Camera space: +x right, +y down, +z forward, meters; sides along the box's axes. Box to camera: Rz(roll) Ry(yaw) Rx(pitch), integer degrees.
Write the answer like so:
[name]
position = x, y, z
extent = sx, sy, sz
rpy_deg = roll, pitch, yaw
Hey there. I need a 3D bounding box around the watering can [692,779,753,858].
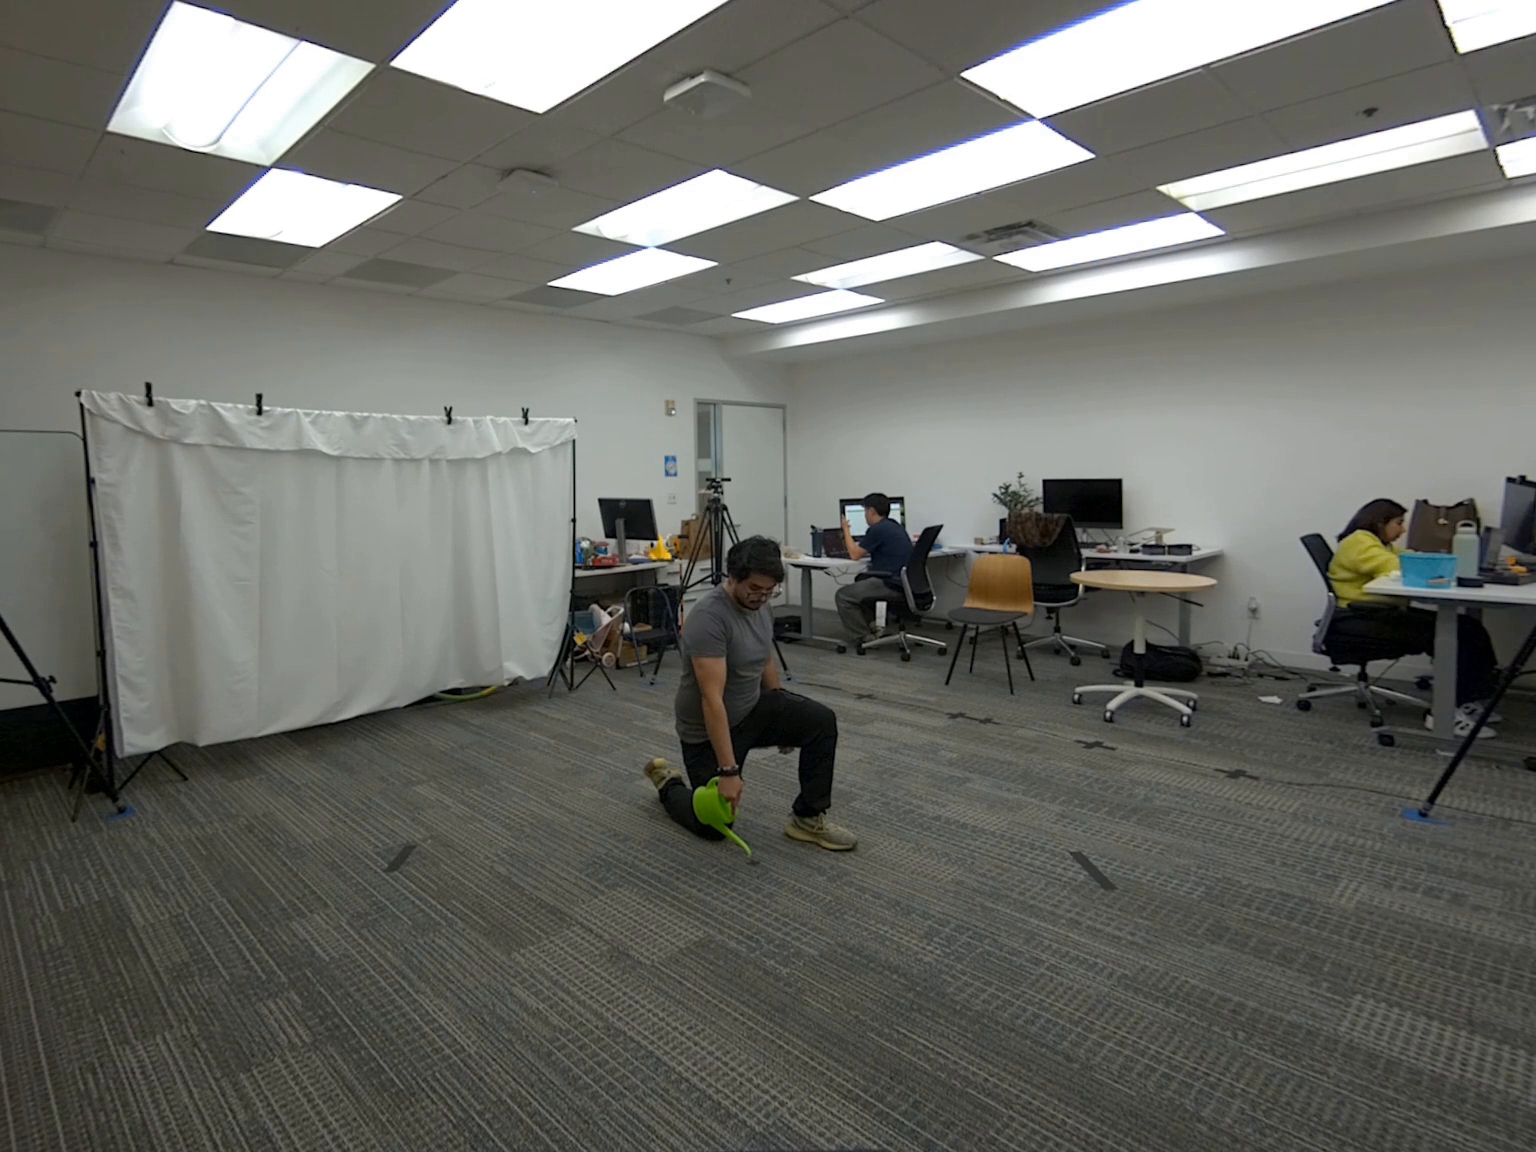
[watering can]
position = -0.169, 0.856, 3.016
extent = 0.095, 0.282, 0.180
rpy_deg = 5, -19, -44
